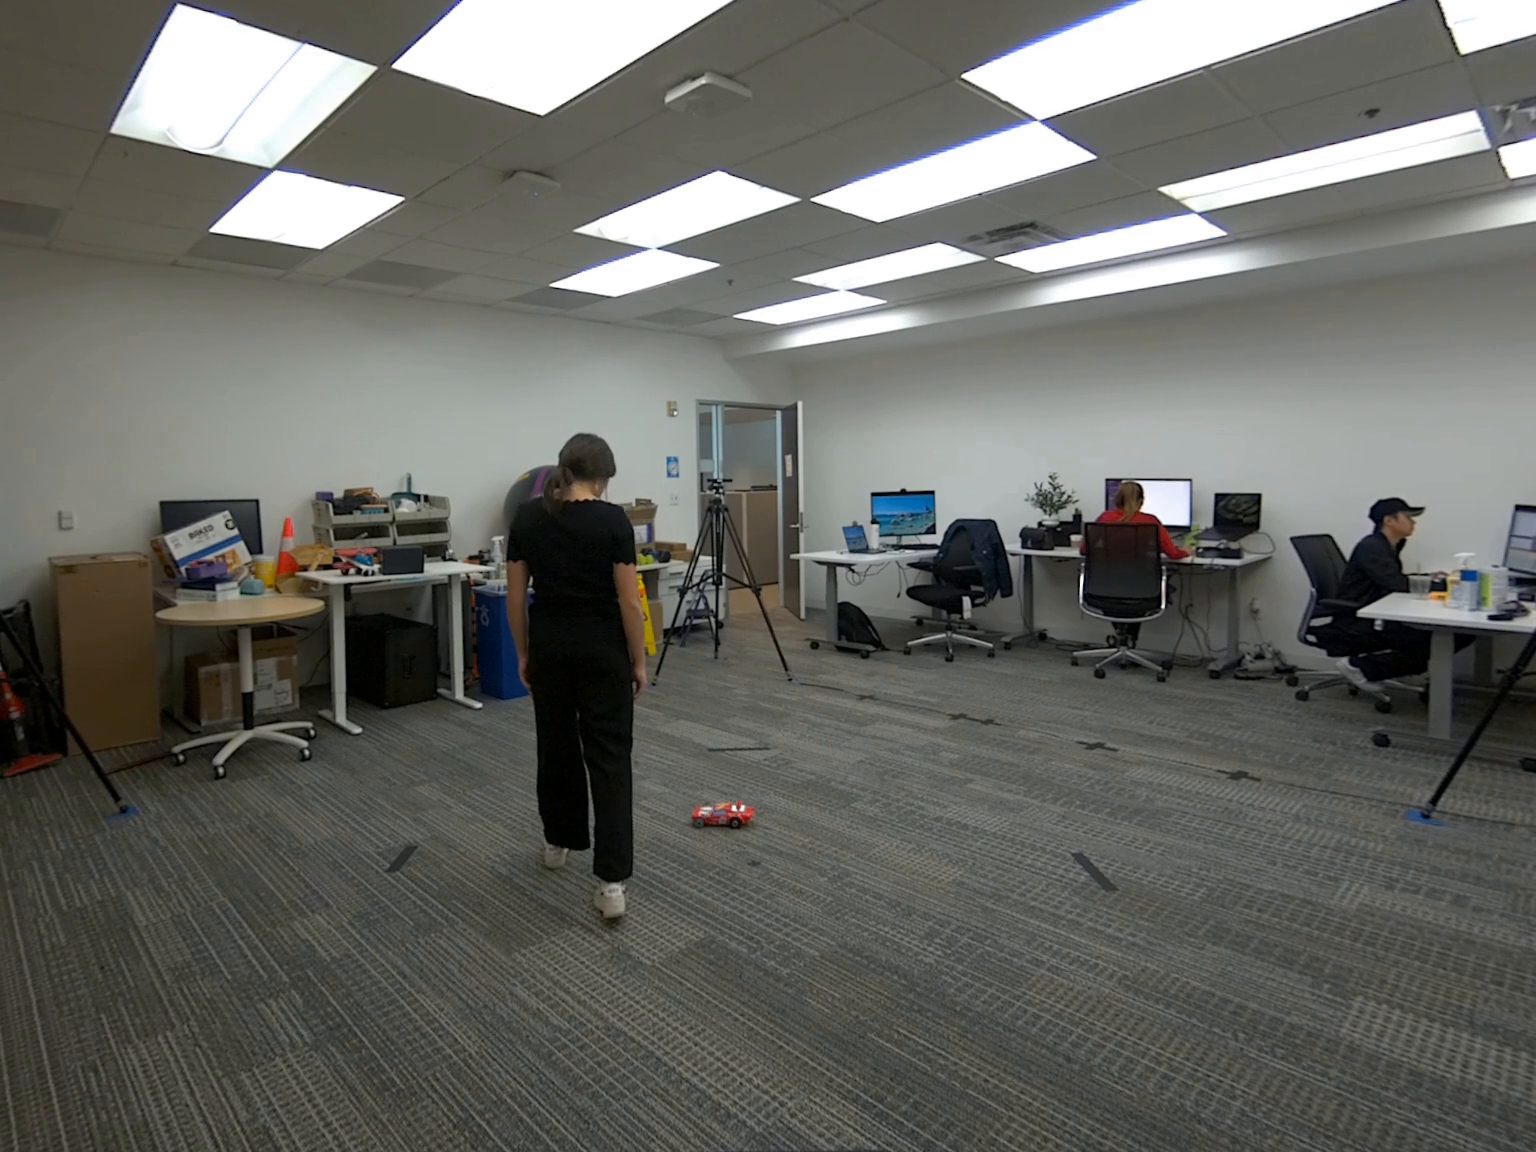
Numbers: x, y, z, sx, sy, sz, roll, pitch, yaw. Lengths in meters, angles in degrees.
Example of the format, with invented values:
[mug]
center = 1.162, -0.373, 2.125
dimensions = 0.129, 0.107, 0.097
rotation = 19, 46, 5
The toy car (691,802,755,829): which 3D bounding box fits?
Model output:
[toy car]
center = -0.177, 0.976, 3.474
dimensions = 0.256, 0.083, 0.130
rotation = -12, 5, 6
